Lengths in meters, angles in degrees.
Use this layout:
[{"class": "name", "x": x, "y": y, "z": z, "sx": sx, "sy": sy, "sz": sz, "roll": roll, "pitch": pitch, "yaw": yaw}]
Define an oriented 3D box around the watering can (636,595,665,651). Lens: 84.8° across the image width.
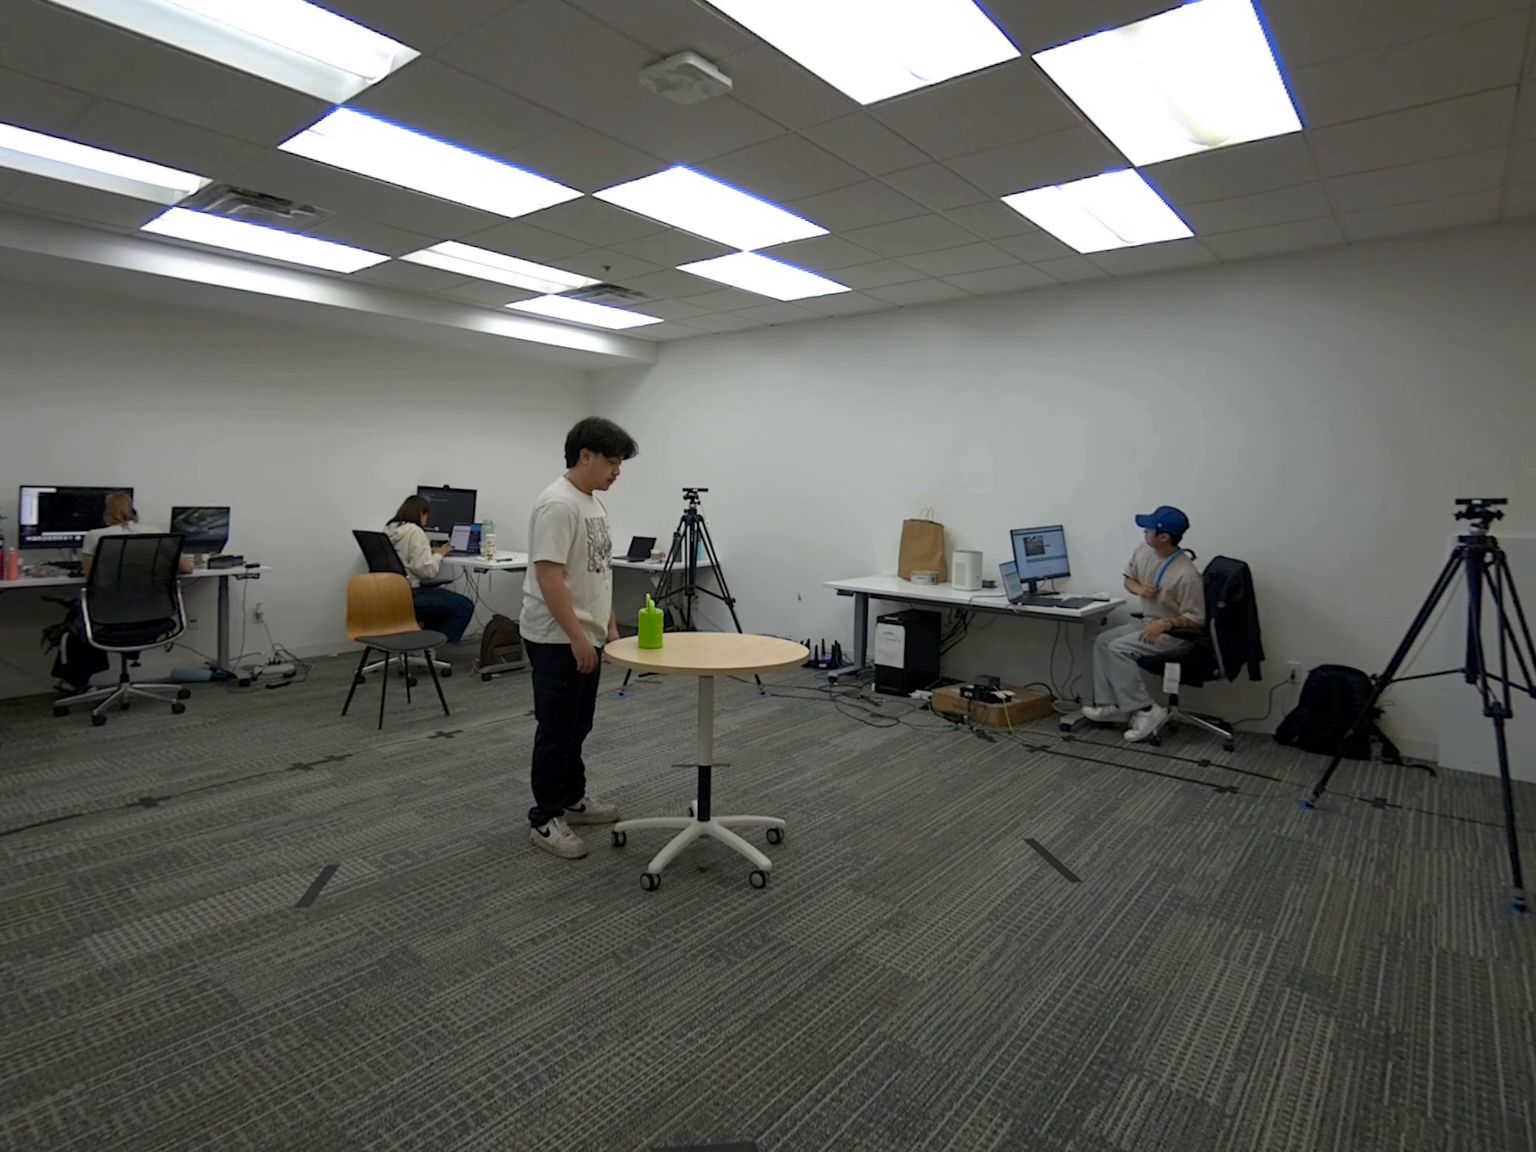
[{"class": "watering can", "x": -0.463, "y": 0.177, "z": 3.258, "sx": 0.098, "sy": 0.176, "sz": 0.279, "roll": 1, "pitch": 6, "yaw": 1}]
